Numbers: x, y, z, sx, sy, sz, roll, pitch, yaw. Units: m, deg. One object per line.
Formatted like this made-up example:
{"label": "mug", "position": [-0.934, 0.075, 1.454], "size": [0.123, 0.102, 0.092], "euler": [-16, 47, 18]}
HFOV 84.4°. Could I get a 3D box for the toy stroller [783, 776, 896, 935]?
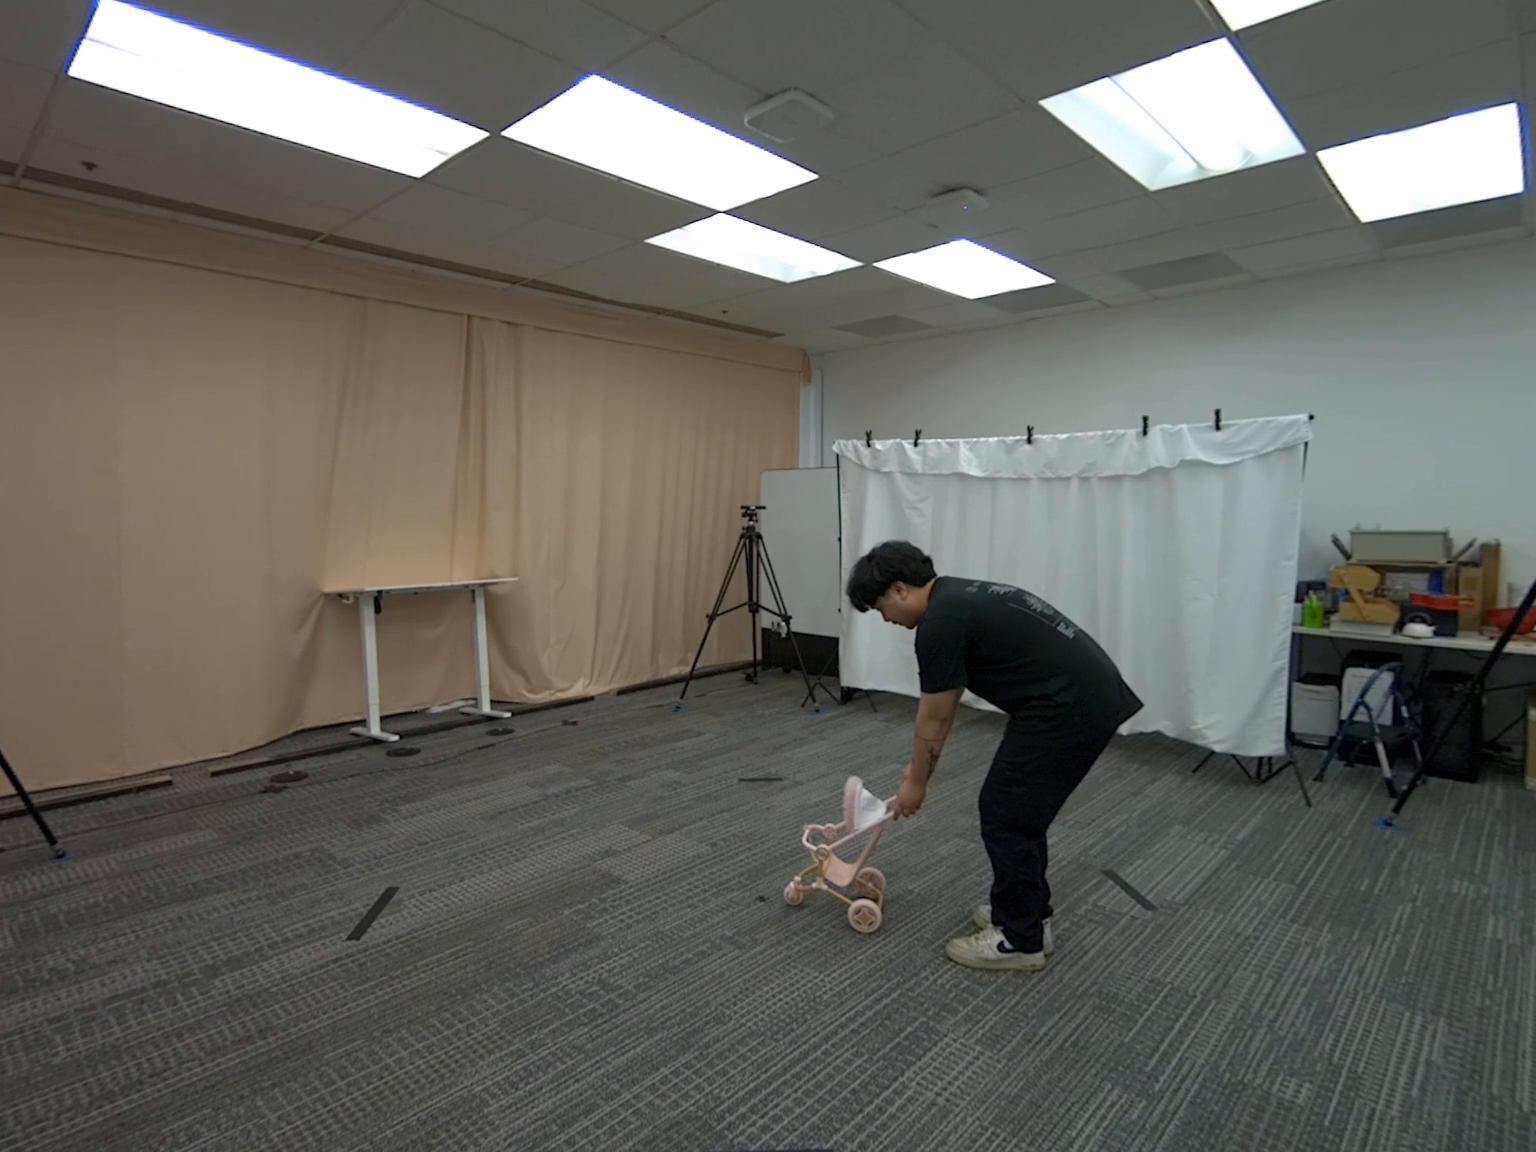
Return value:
{"label": "toy stroller", "position": [0.282, 0.928, 2.877], "size": [0.349, 0.533, 0.276], "euler": [17, 8, 17]}
